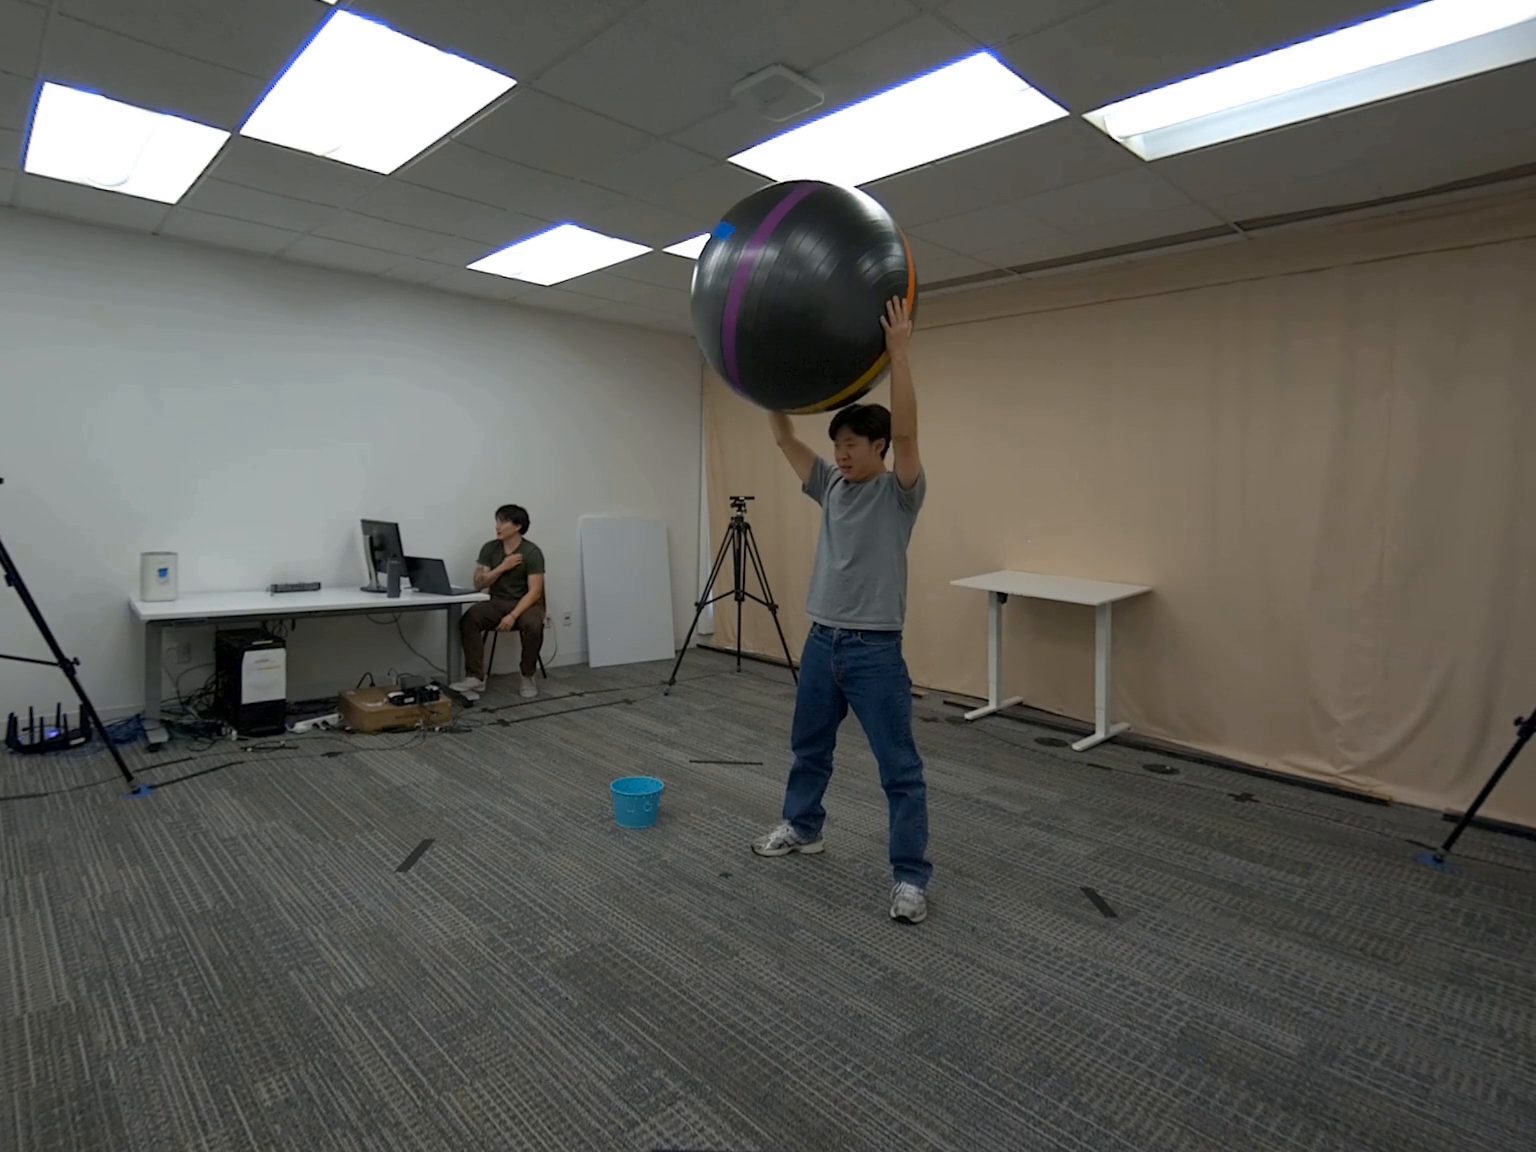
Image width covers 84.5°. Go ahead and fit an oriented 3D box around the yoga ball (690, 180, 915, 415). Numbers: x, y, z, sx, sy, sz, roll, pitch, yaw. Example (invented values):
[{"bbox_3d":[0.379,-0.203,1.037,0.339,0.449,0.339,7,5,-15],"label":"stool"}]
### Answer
[{"bbox_3d":[0.098,-0.905,2.825,0.757,0.756,0.761,1,4,-1],"label":"yoga ball"}]
